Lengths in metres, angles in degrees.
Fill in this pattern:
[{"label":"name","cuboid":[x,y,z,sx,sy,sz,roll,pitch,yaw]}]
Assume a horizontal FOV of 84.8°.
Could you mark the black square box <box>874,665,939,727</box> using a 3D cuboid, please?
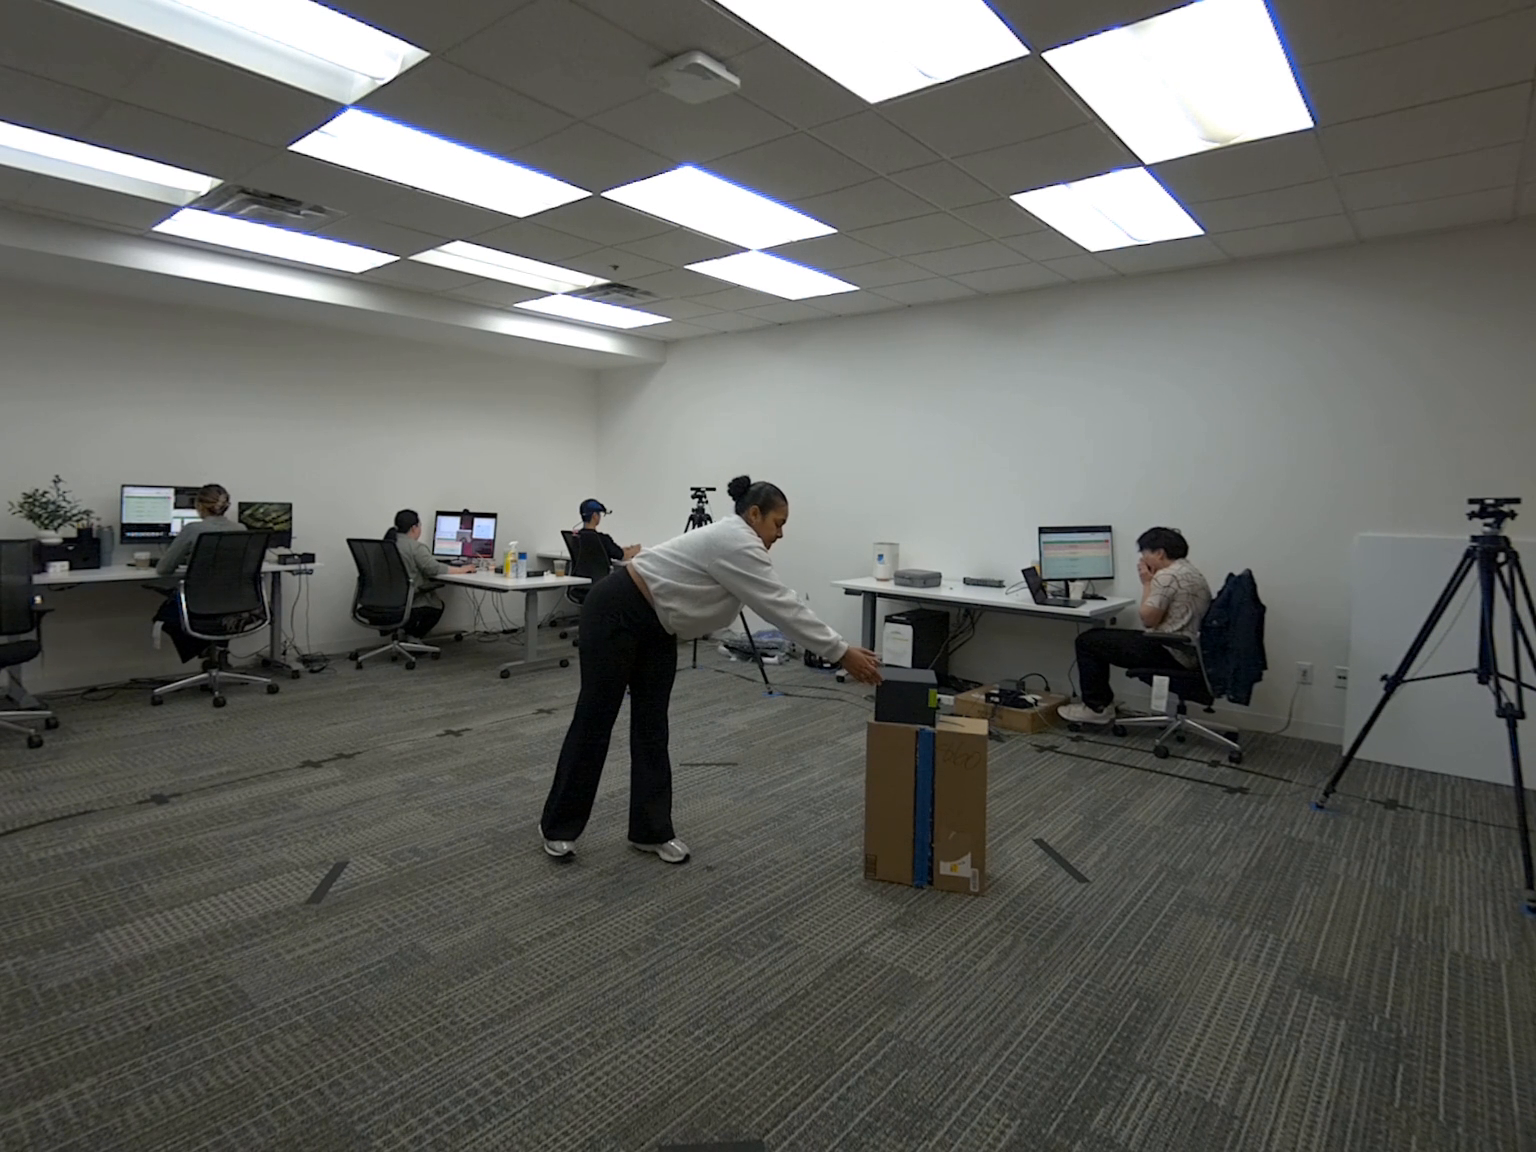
[{"label":"black square box","cuboid":[0.494,0.431,3.130,0.219,0.155,0.226,3,5,9]}]
